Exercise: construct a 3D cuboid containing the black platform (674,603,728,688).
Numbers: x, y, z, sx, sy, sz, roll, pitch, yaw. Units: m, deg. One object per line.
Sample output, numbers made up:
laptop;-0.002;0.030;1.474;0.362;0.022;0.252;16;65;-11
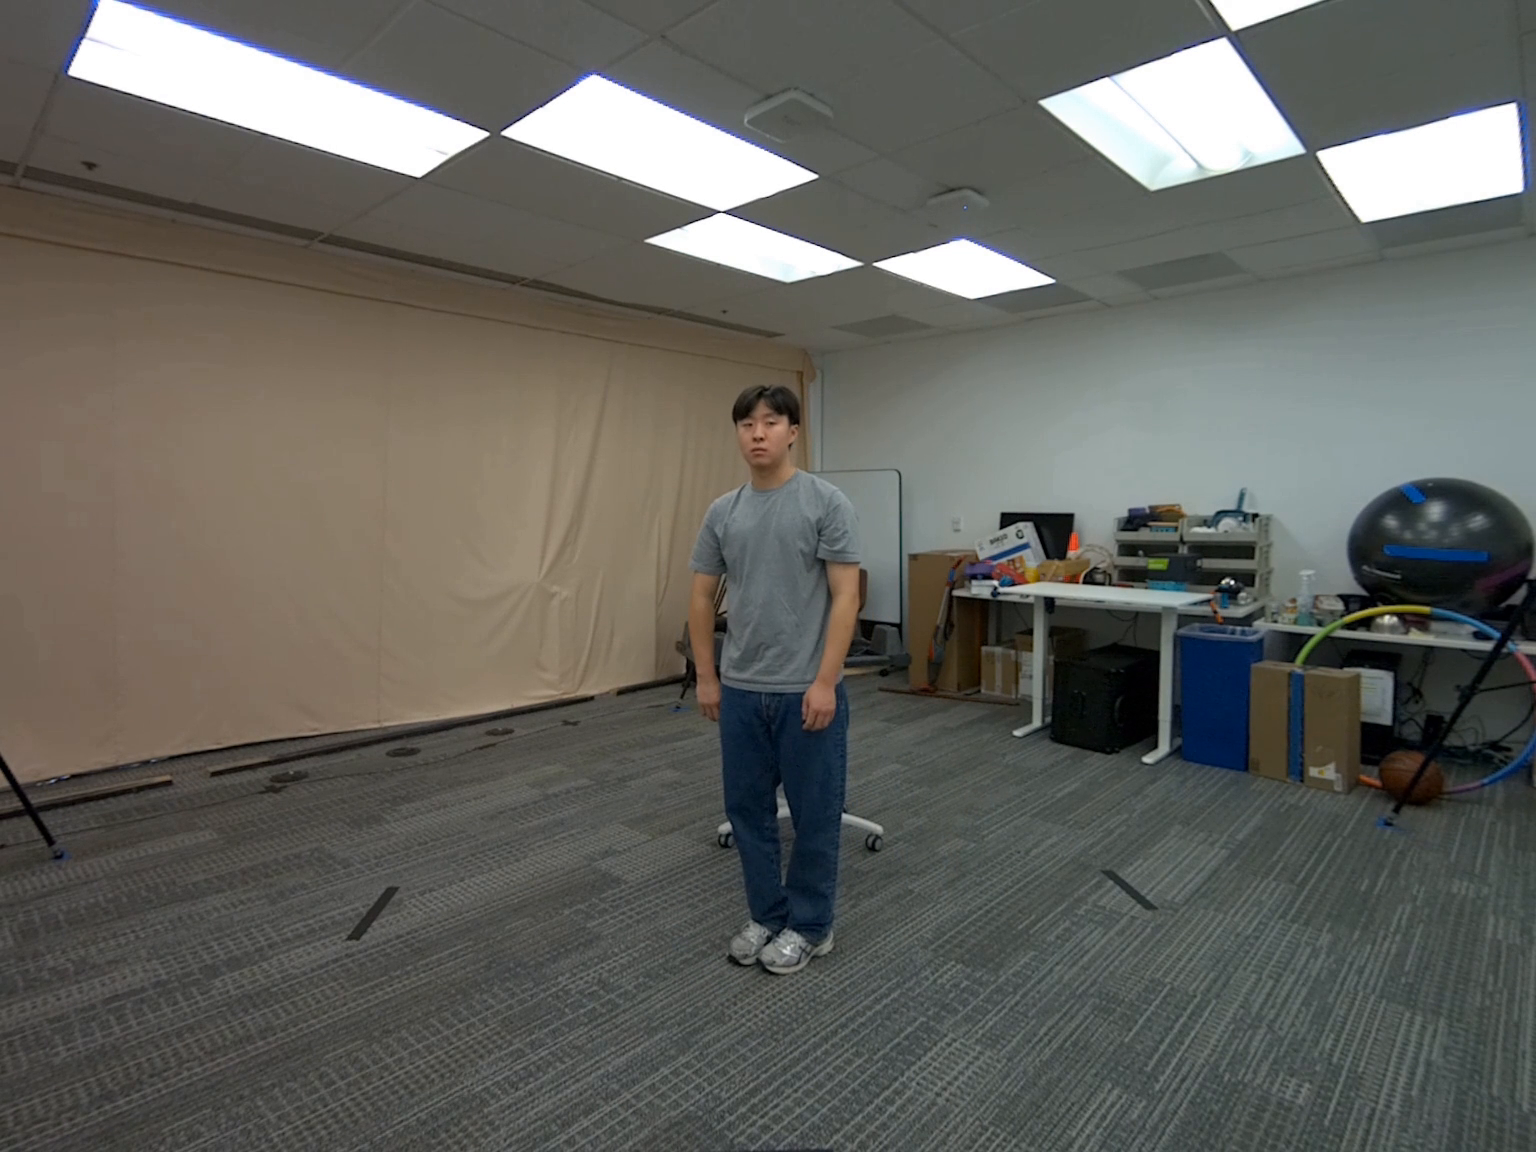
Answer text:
black platform;0.082;0.262;3.376;0.791;0.143;0.617;-2;4;-18
